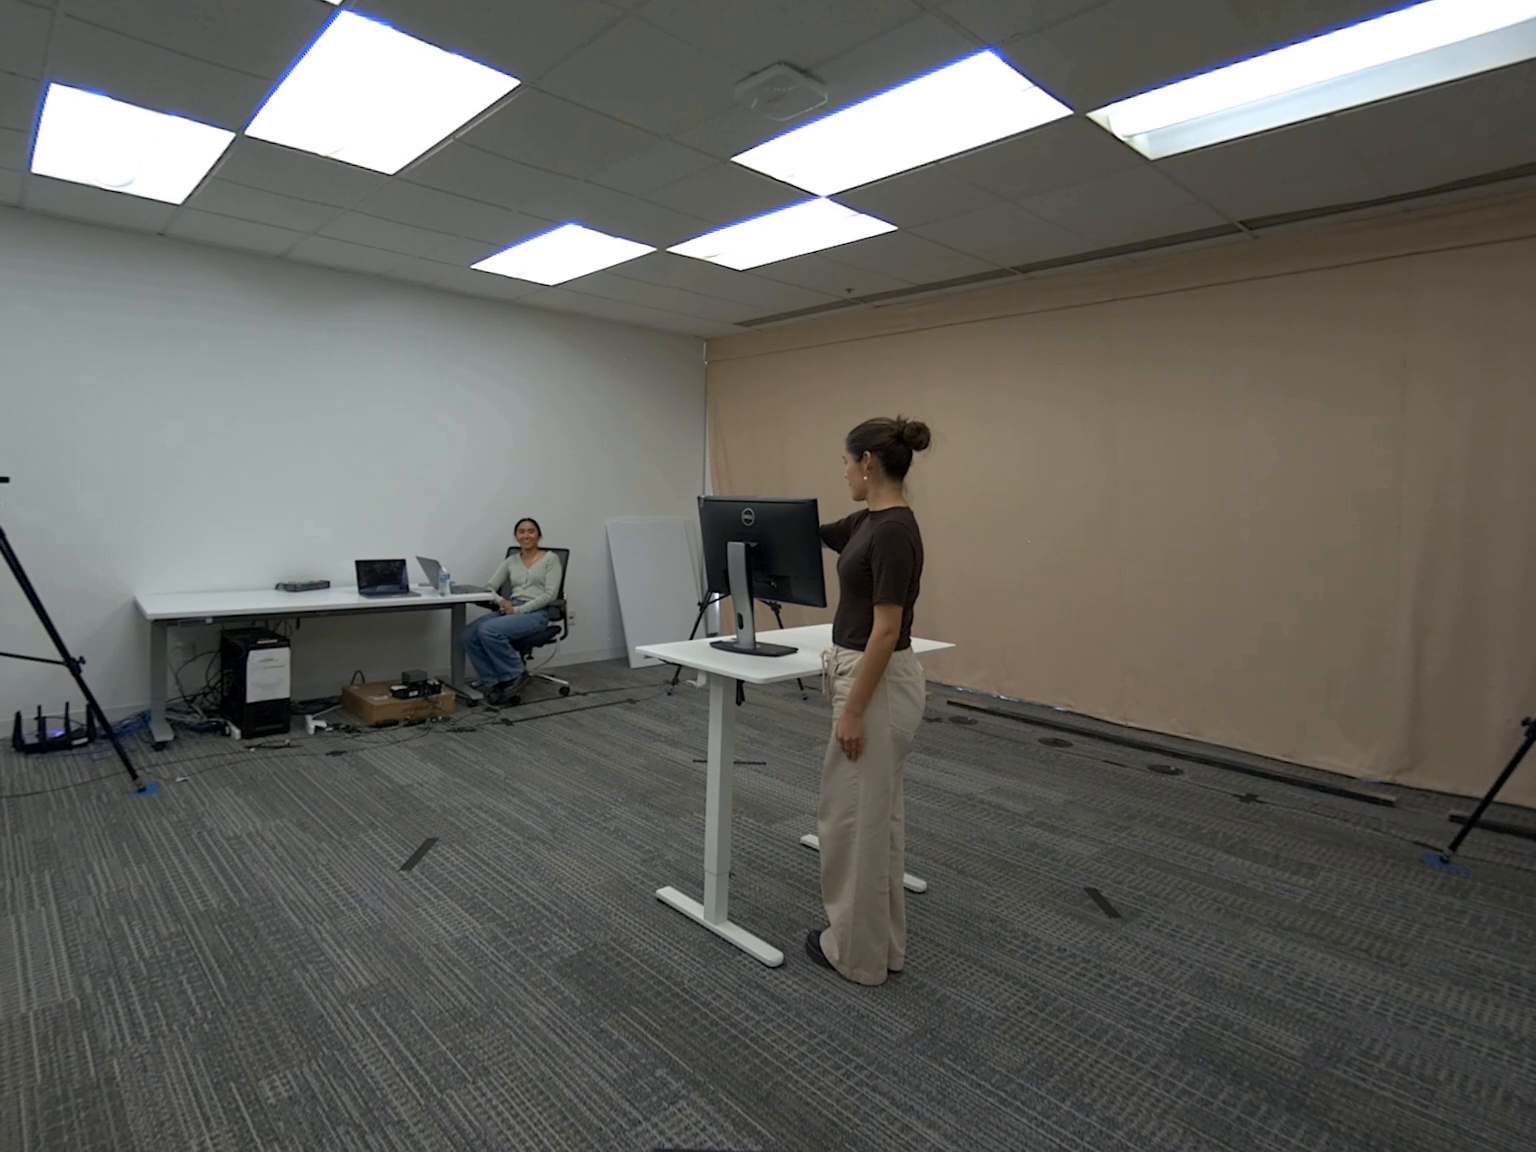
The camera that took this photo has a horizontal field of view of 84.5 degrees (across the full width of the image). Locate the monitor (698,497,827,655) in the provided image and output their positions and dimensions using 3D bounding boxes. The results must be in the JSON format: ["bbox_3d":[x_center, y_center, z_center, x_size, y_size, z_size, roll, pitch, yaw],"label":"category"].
[{"bbox_3d":[-0.057,-0.001,2.804,0.553,0.521,0.183,5,4,43],"label":"monitor"}]
